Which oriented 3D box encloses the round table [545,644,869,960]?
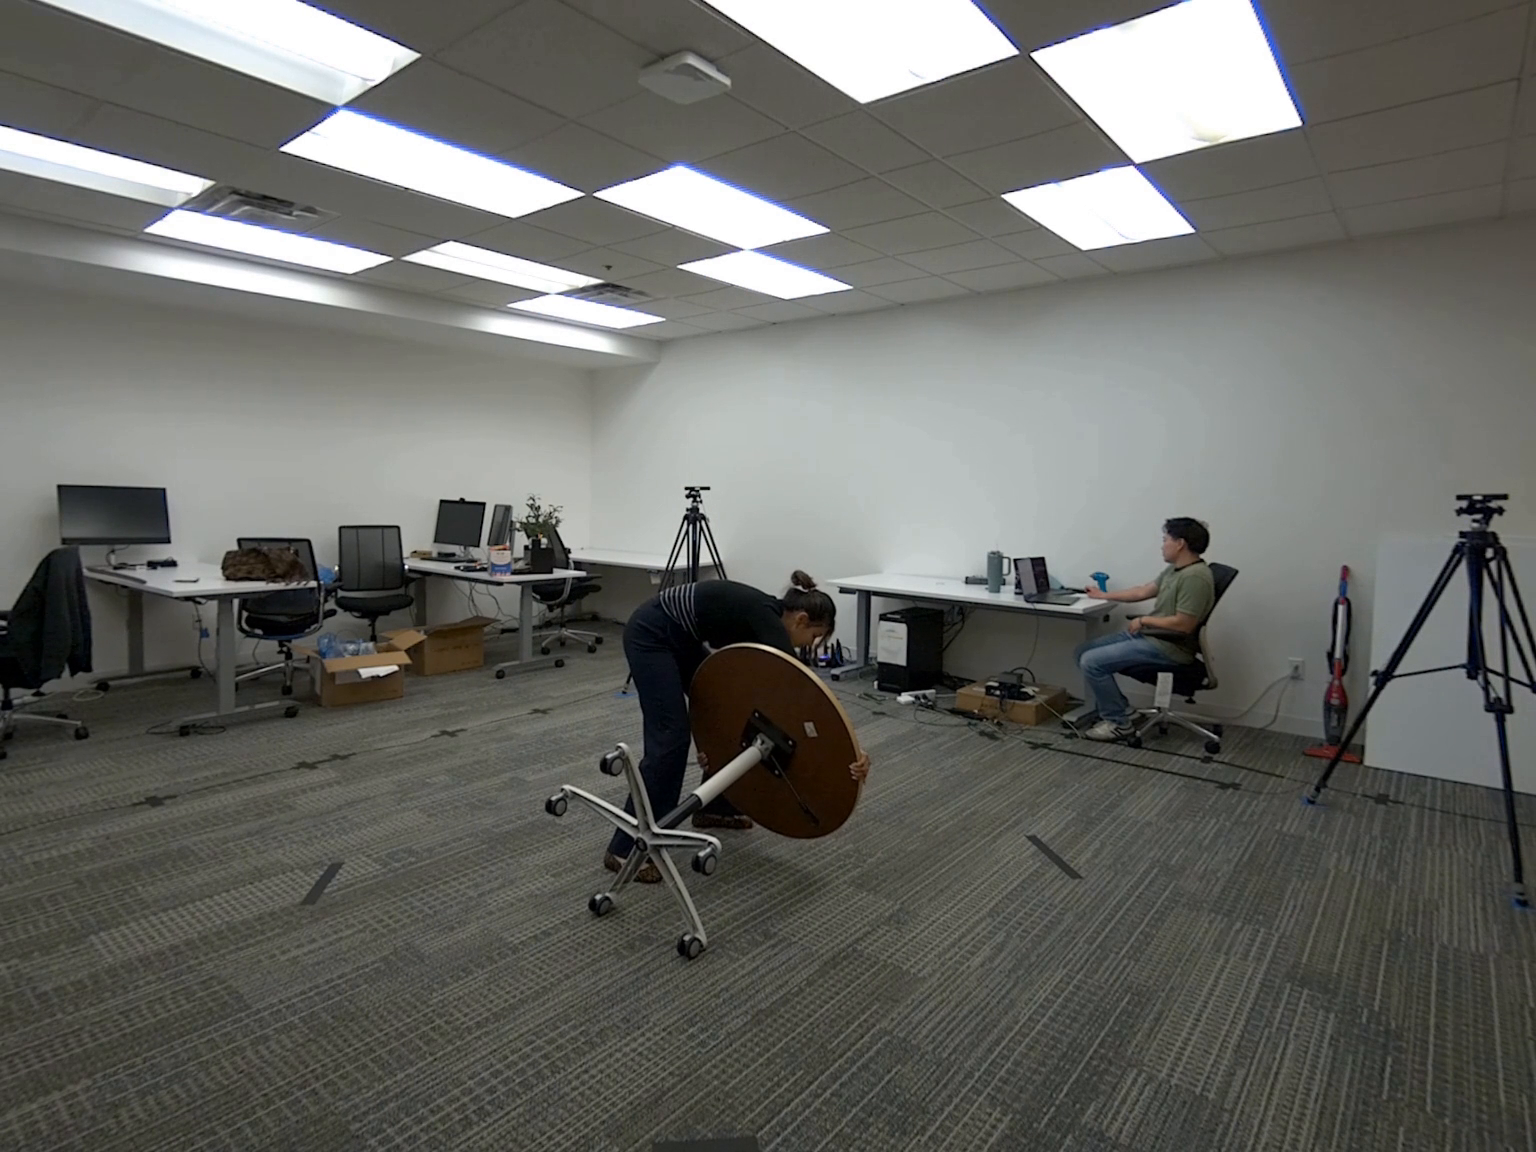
[{"bbox_3d":[-0.224,0.733,2.847,0.789,0.752,0.781,4,19,38],"label":"round table"}]
